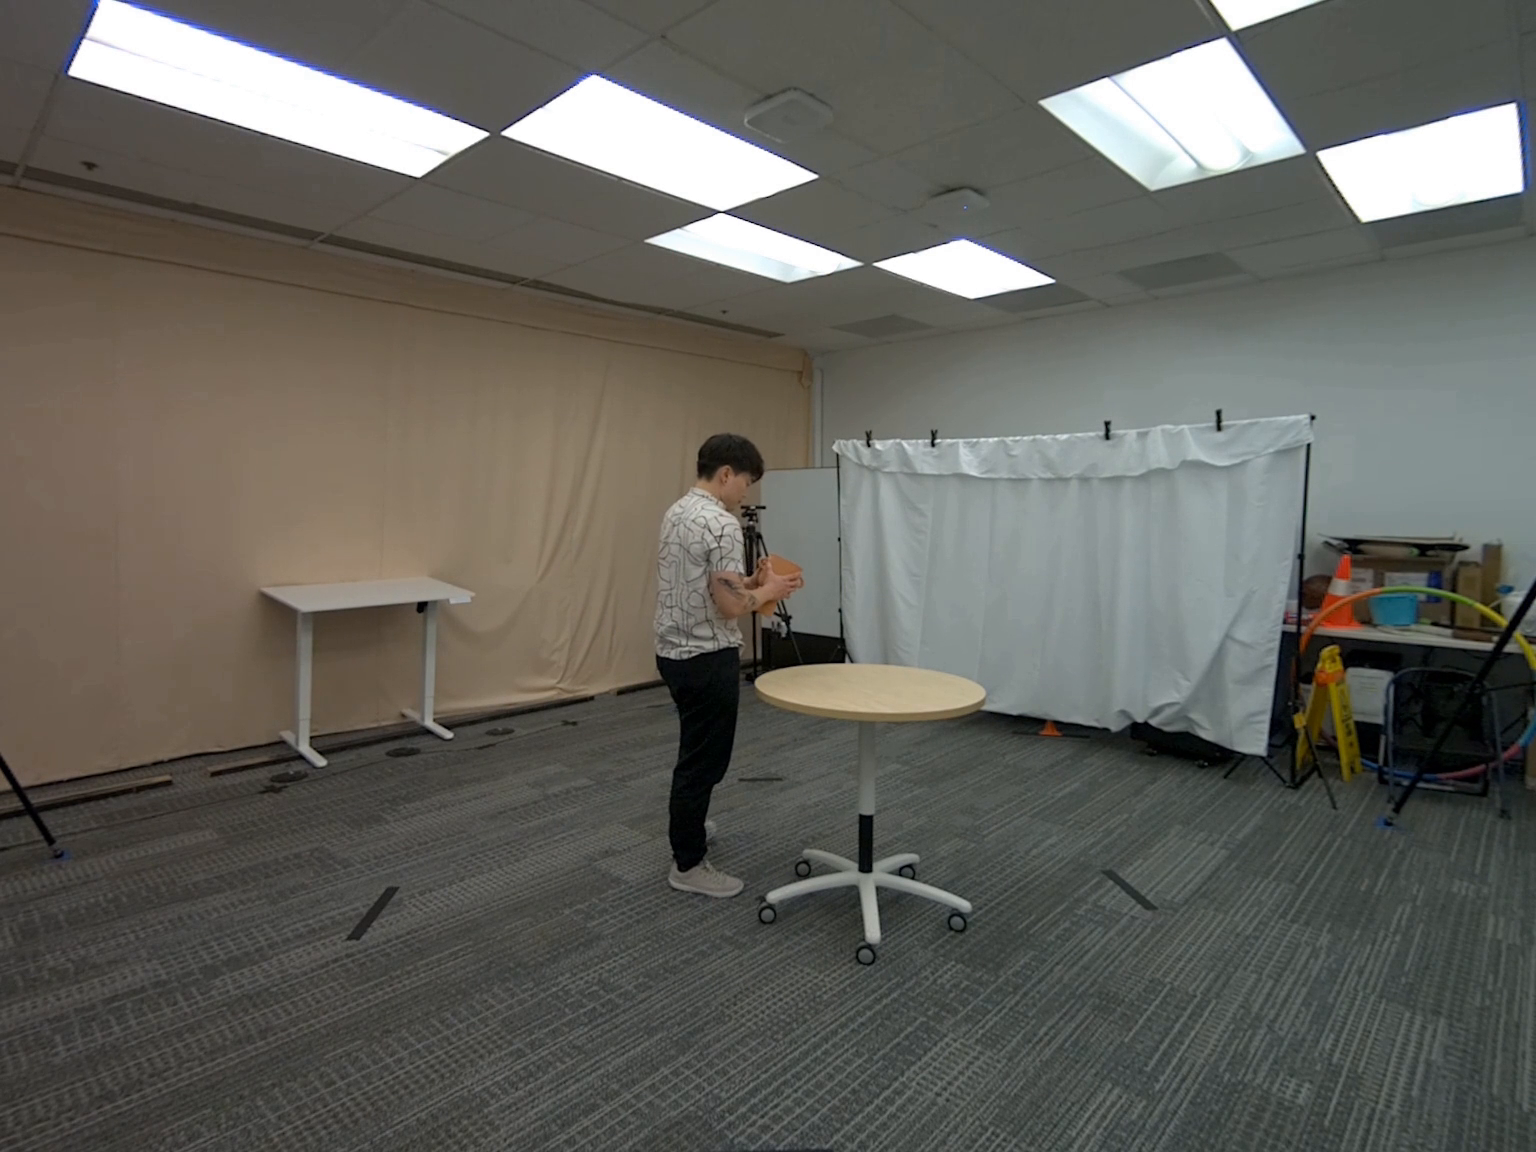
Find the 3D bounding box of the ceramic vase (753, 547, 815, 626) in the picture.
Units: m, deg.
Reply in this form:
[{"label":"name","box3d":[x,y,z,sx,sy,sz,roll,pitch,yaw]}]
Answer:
[{"label":"ceramic vase","box3d":[0.032,0.037,3.127,0.163,0.220,0.131,27,-2,24]}]
